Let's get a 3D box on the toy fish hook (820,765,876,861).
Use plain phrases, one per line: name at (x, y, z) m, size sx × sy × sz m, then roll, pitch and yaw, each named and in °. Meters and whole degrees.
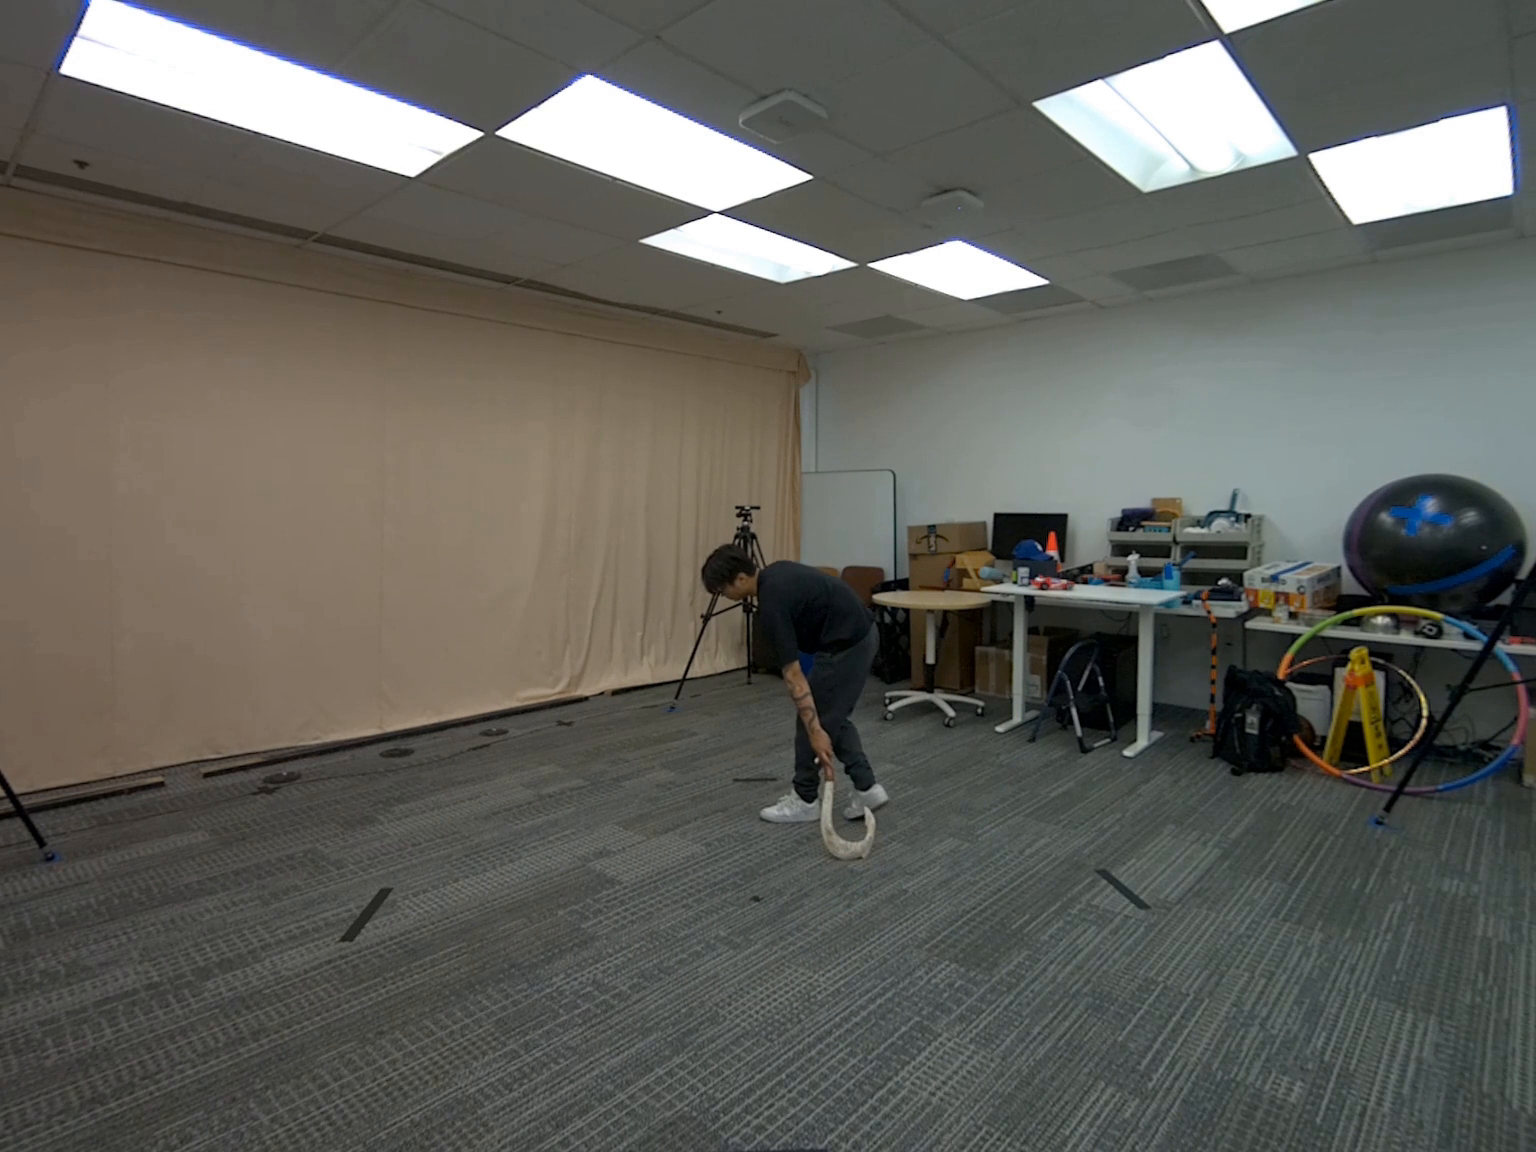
toy fish hook at (0.309, 0.889, 3.437) m, size 0.221 × 0.516 × 0.048 m, roll -2°, pitch -30°, yaw -13°
